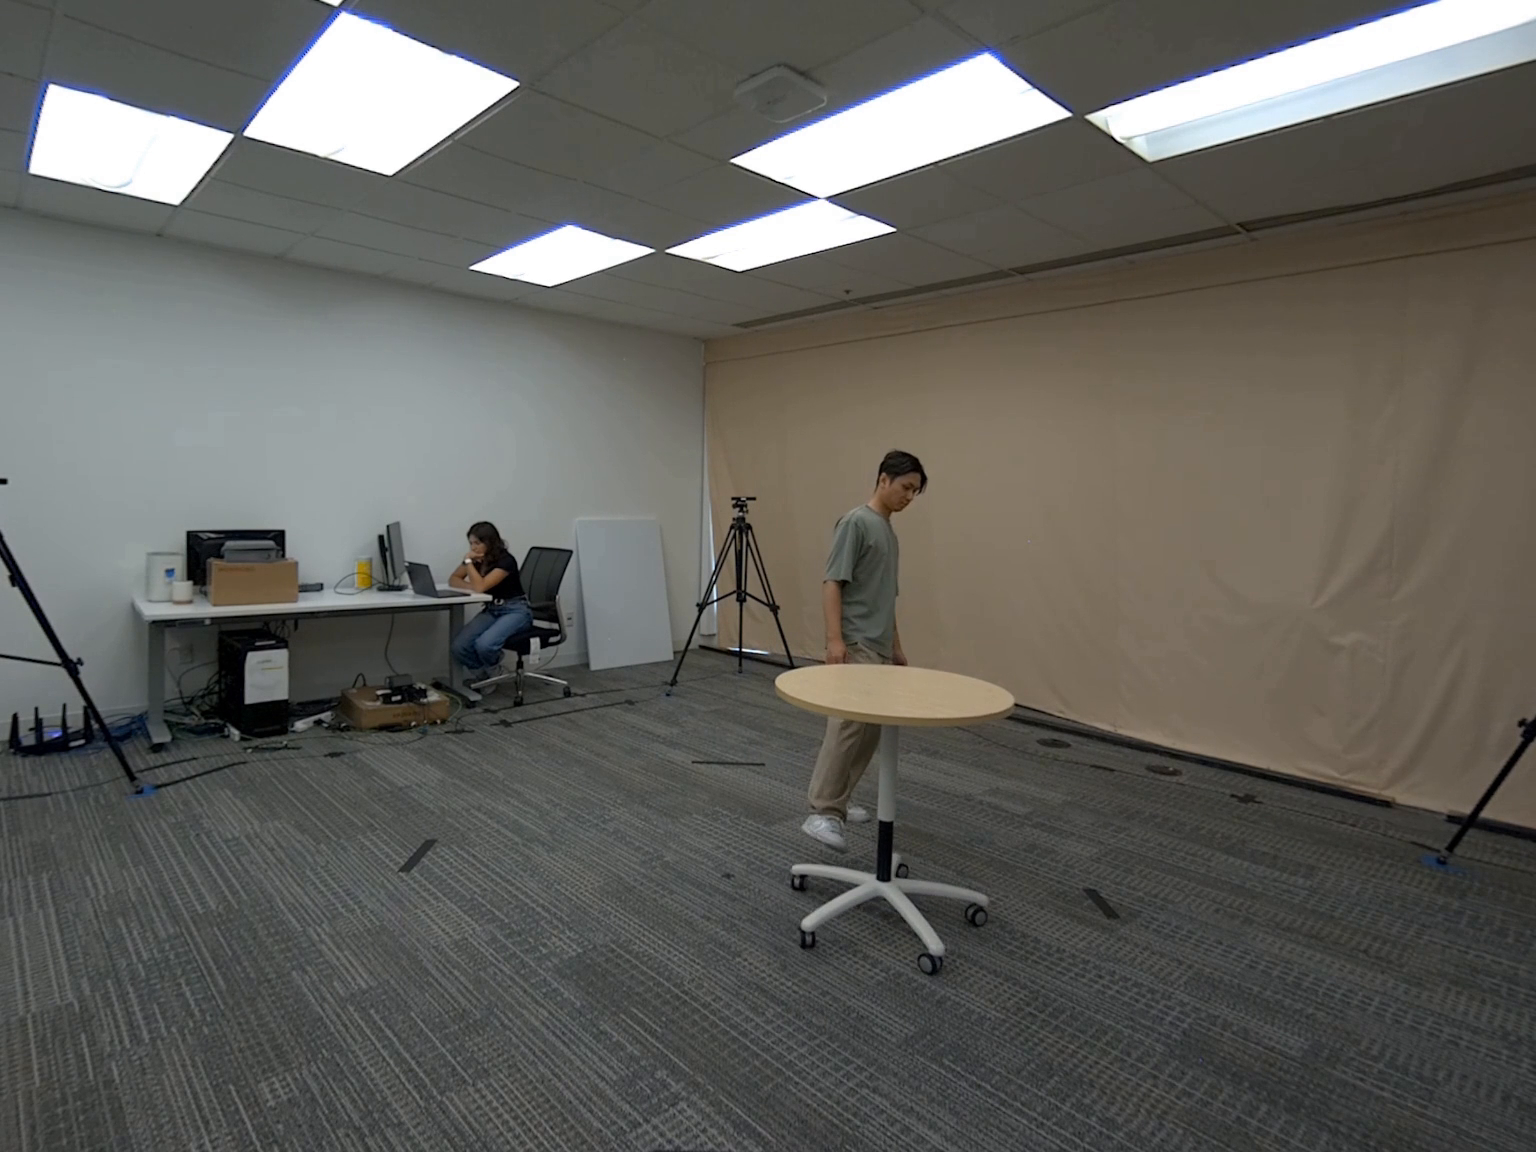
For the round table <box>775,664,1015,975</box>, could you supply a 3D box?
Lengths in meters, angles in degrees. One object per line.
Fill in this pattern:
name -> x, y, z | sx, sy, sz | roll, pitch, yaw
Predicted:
round table -> 0.393, 0.757, 2.793 | 0.784, 0.784, 0.788 | 2, 4, -1
